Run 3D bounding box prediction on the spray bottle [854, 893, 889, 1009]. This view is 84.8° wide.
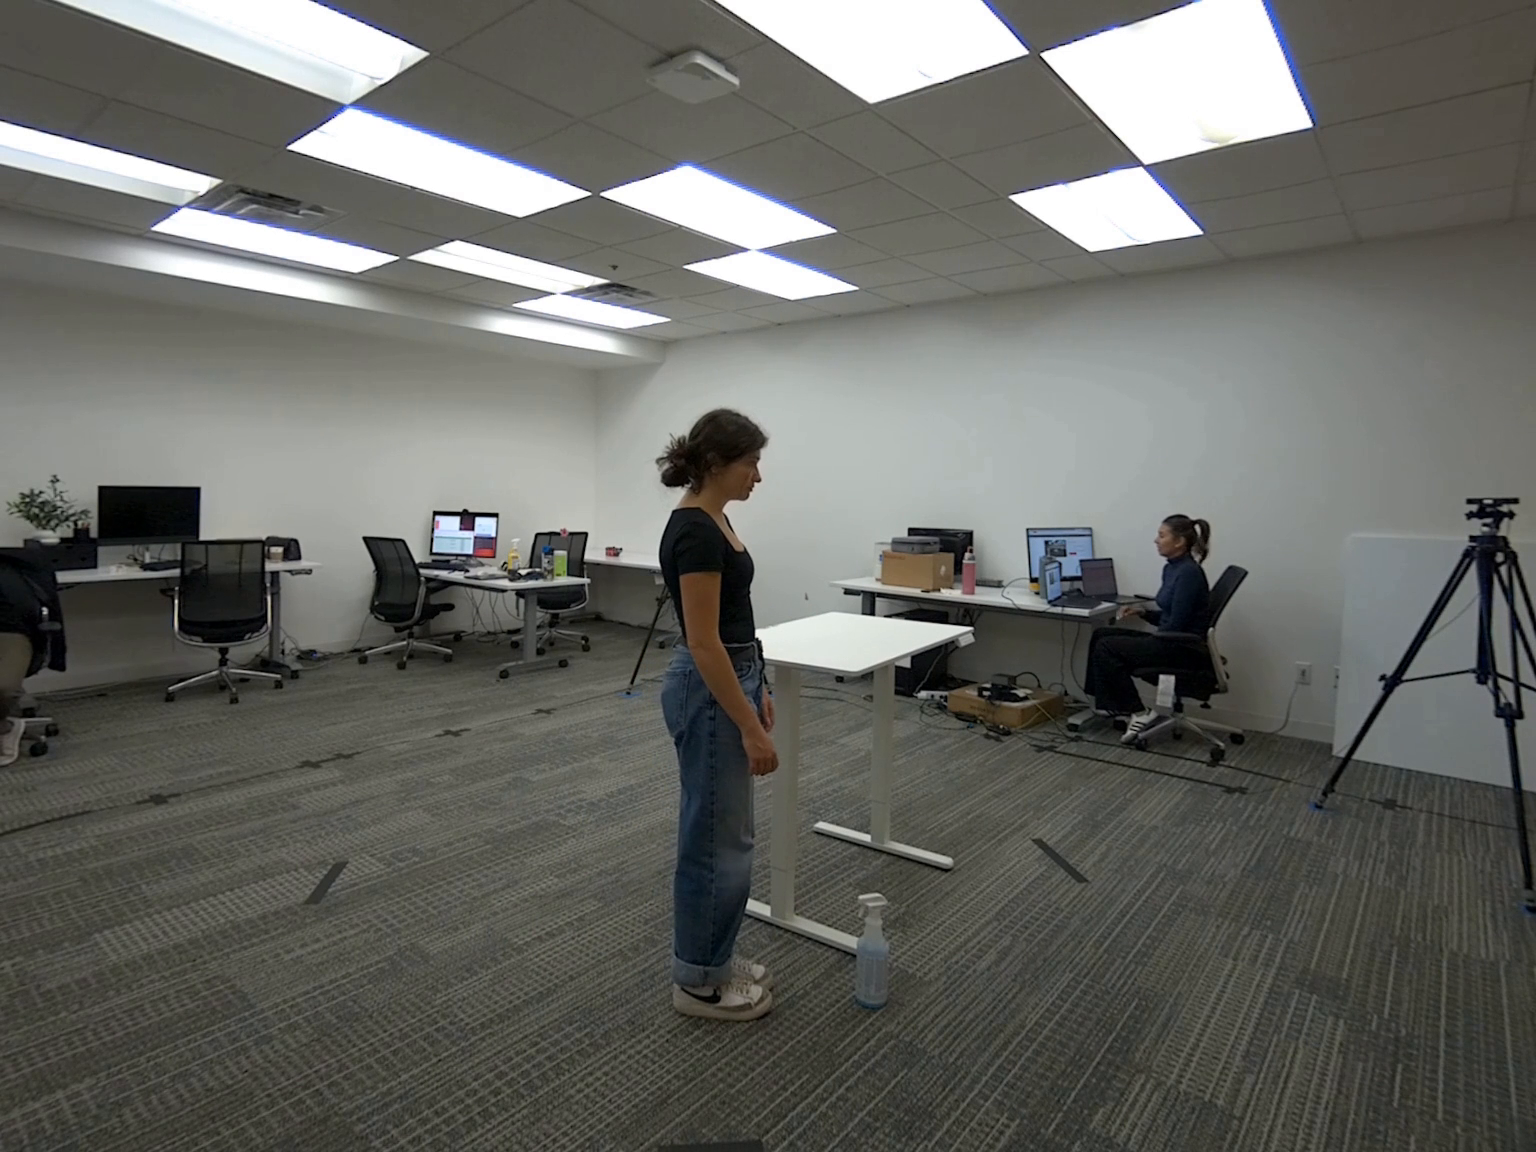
[{"bbox_3d":[0.277,1.016,2.309,0.090,0.296,0.087,0,3,1],"label":"spray bottle"}]
